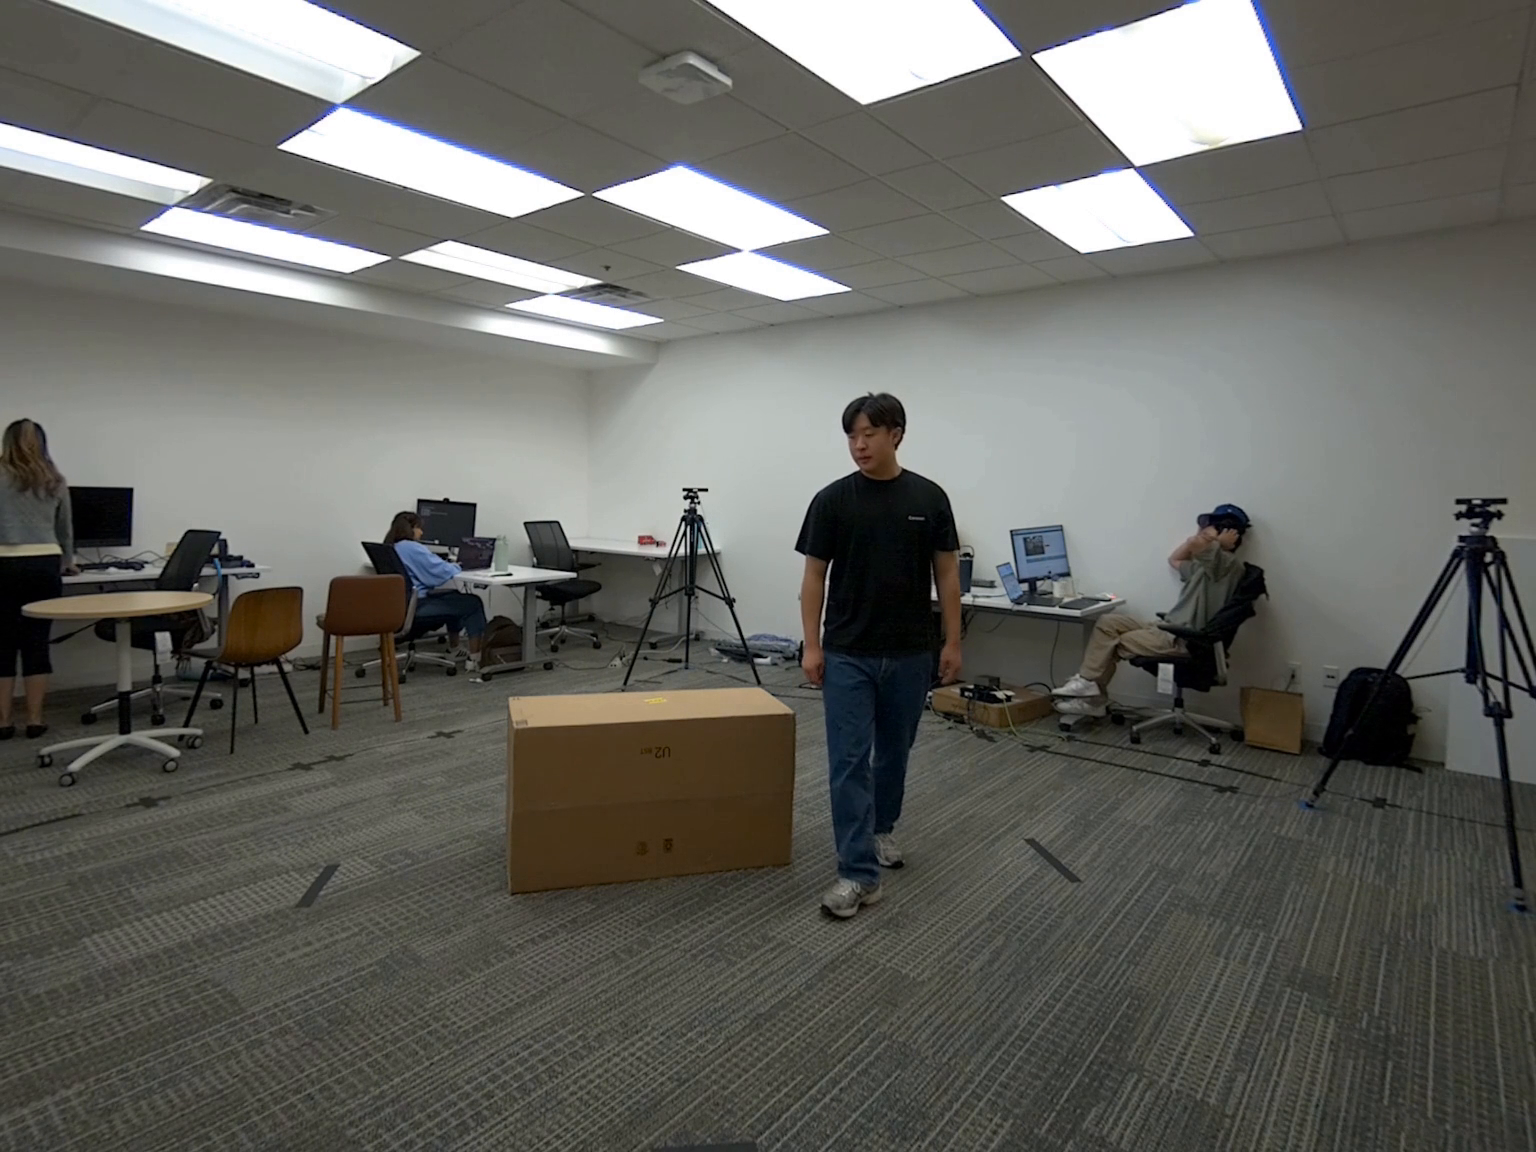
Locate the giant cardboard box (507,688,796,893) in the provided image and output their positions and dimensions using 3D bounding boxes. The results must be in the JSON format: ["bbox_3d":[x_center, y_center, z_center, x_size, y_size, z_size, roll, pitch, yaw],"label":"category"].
[{"bbox_3d":[-0.465,0.766,3.216,1.009,0.583,0.456,0,3,-18],"label":"giant cardboard box"}]
